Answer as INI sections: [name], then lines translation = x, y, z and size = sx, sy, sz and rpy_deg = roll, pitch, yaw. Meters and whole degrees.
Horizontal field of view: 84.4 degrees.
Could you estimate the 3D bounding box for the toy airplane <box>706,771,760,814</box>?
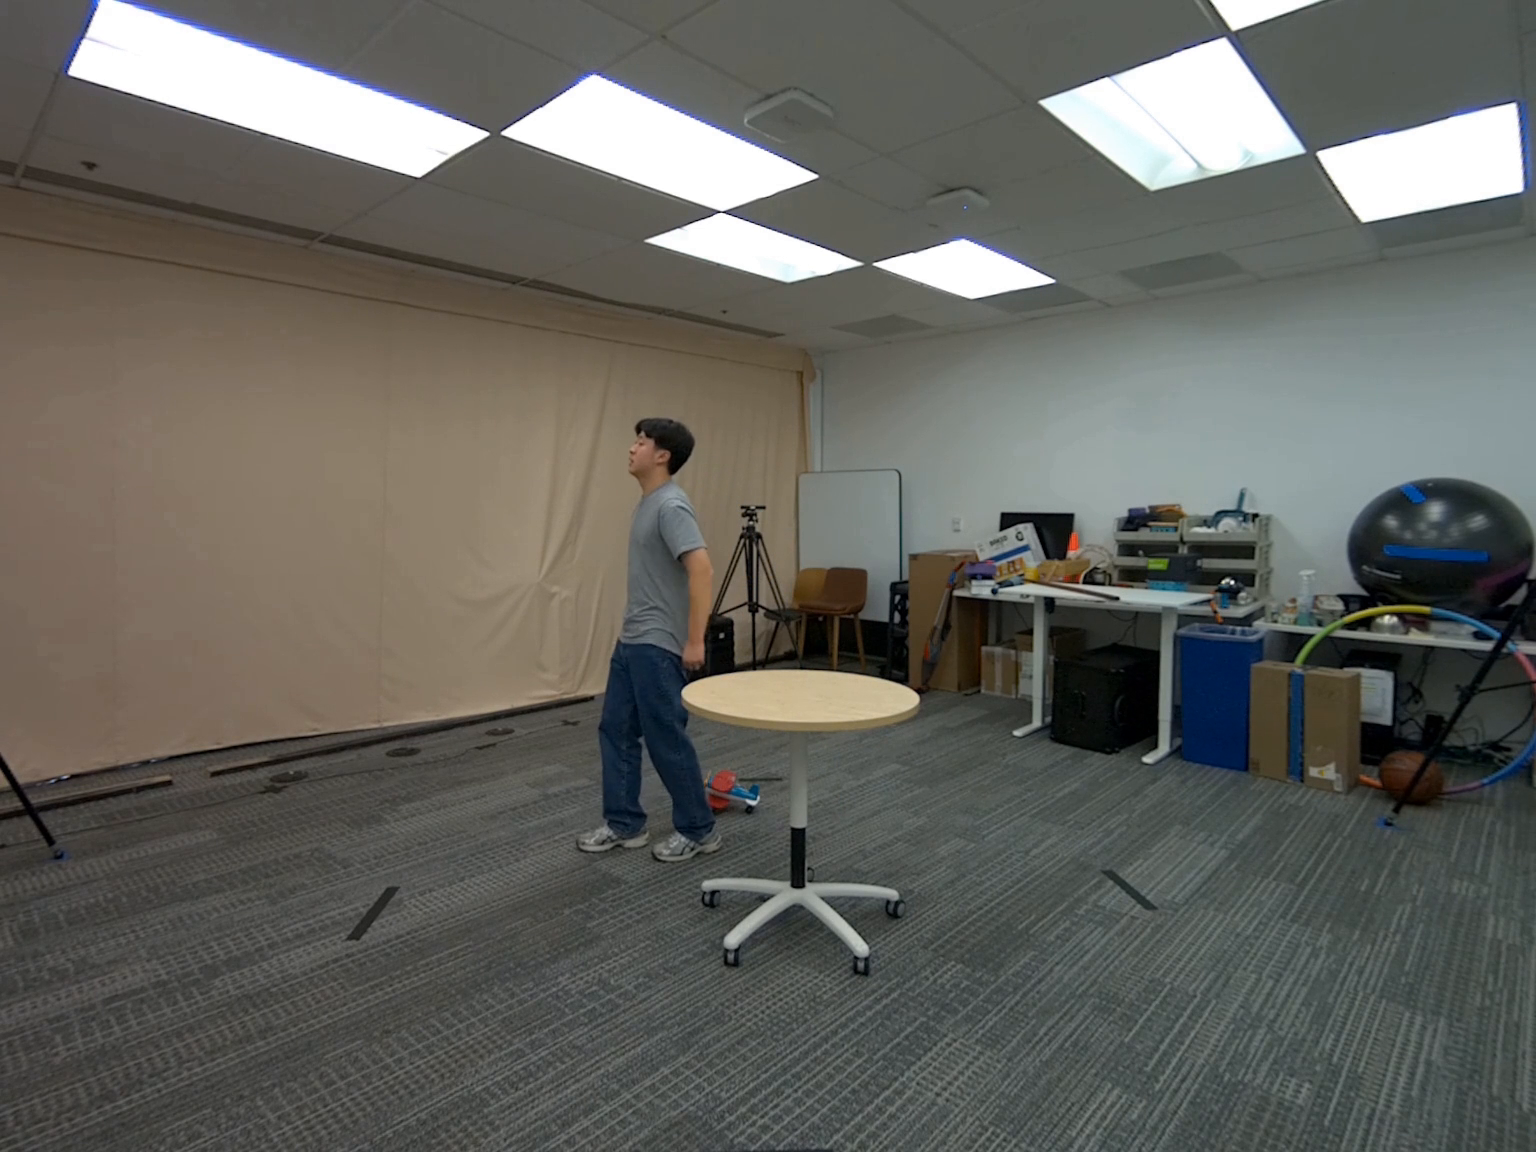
[toy airplane]
translation = -0.171, 1.001, 3.877
size = 0.255, 0.156, 0.255
rpy_deg = -3, 4, -16
